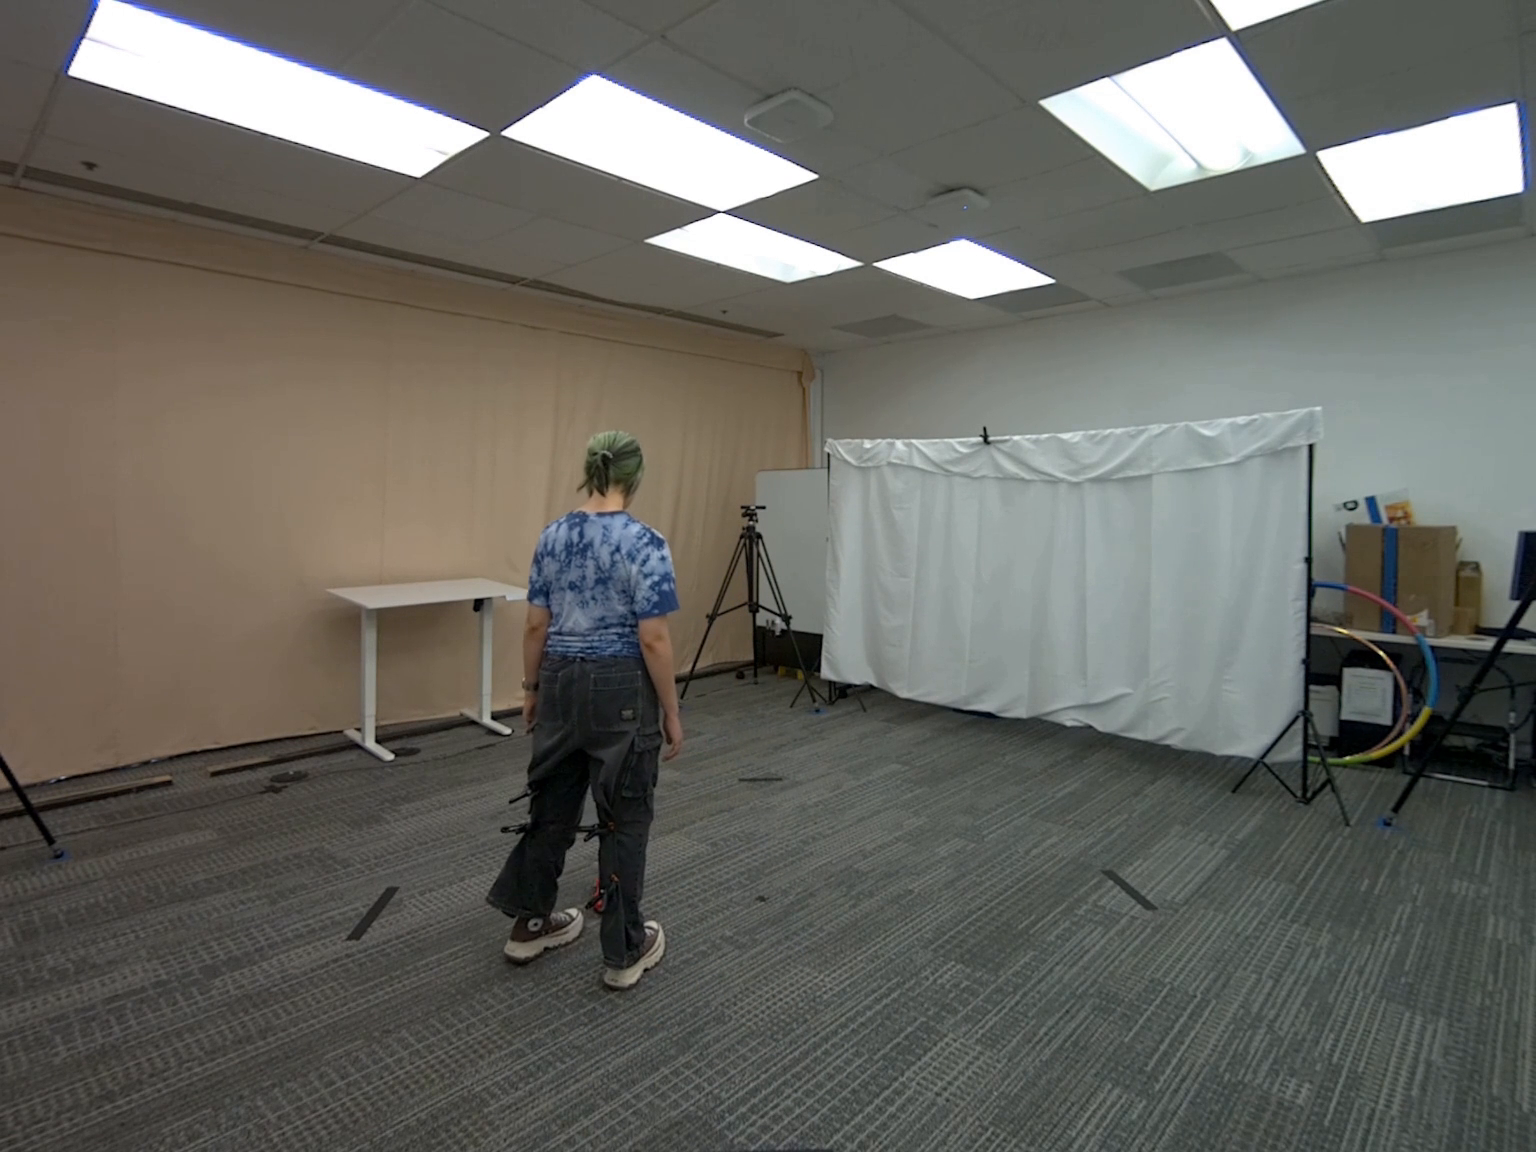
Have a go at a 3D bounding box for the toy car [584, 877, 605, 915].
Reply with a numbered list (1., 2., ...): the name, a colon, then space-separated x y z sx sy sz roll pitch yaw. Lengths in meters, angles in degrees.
1. toy car: -0.556 1.120 2.959 0.129 0.083 0.255 1 -7 -7
